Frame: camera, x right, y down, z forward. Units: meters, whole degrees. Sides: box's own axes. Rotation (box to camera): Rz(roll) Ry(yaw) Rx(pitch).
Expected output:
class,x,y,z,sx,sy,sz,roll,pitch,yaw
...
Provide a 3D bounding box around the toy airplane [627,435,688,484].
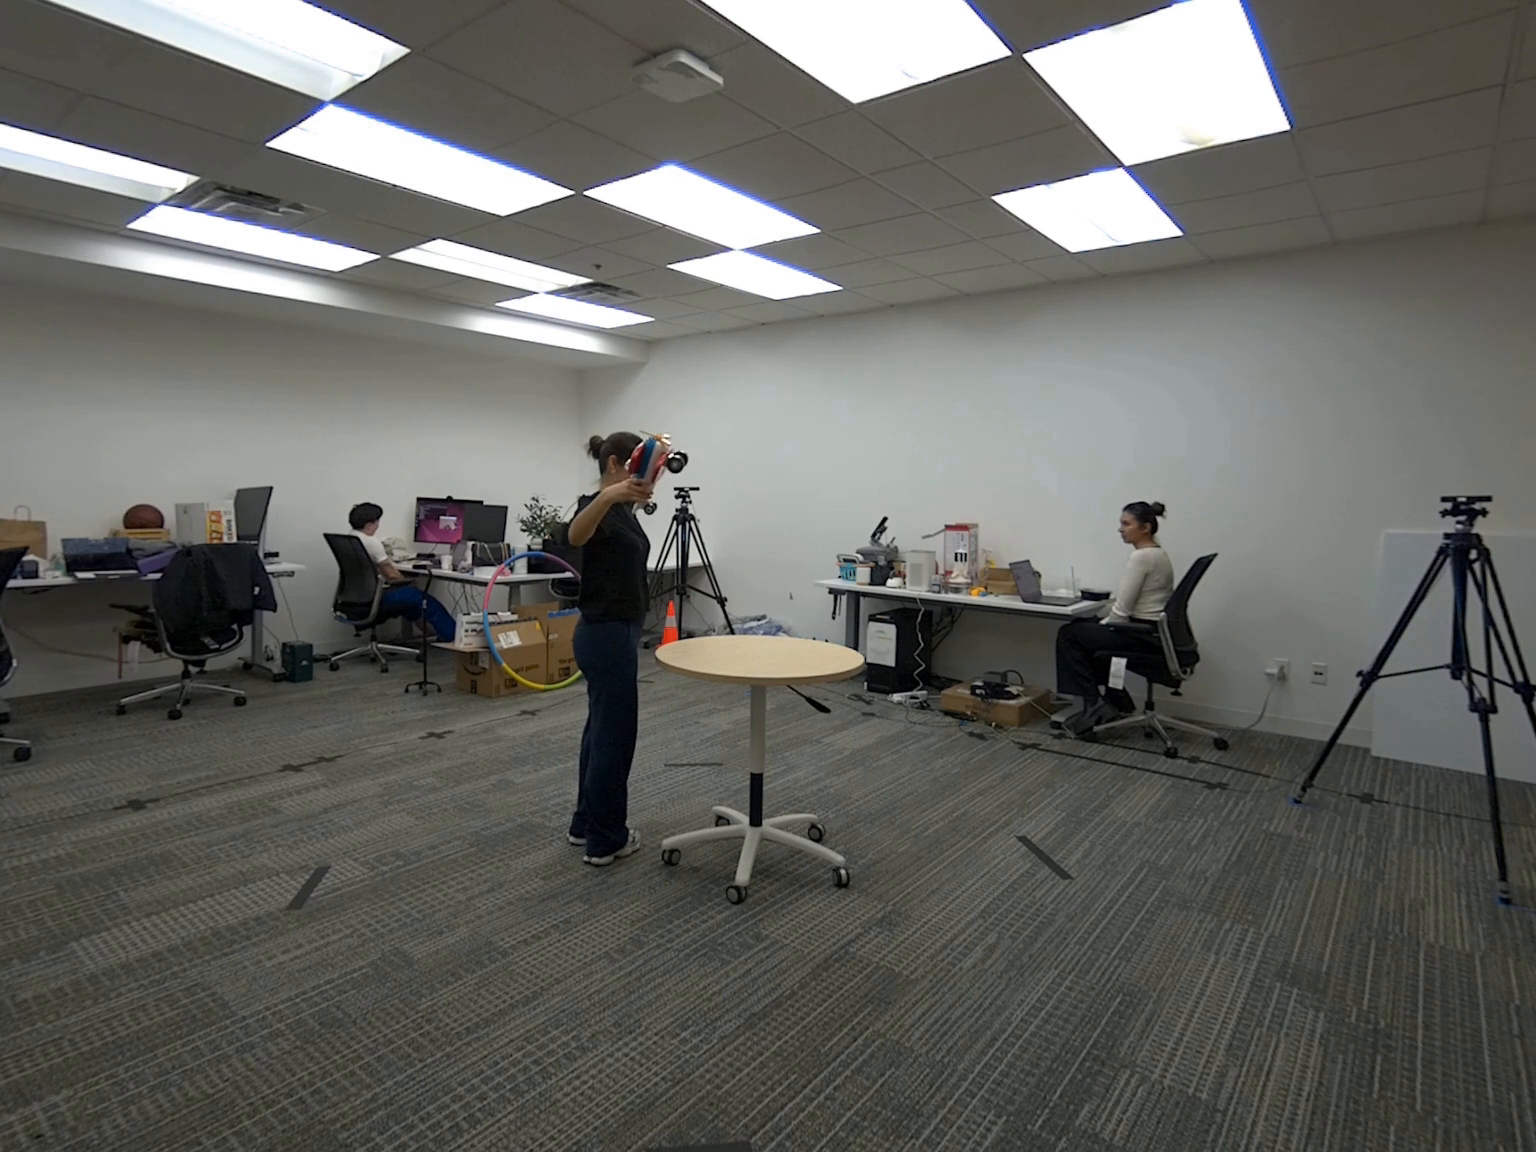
class,x,y,z,sx,sy,sz,roll,pitch,yaw
toy airplane,-0.357,-0.314,2.702,0.156,0.260,0.252,35,-10,-5
